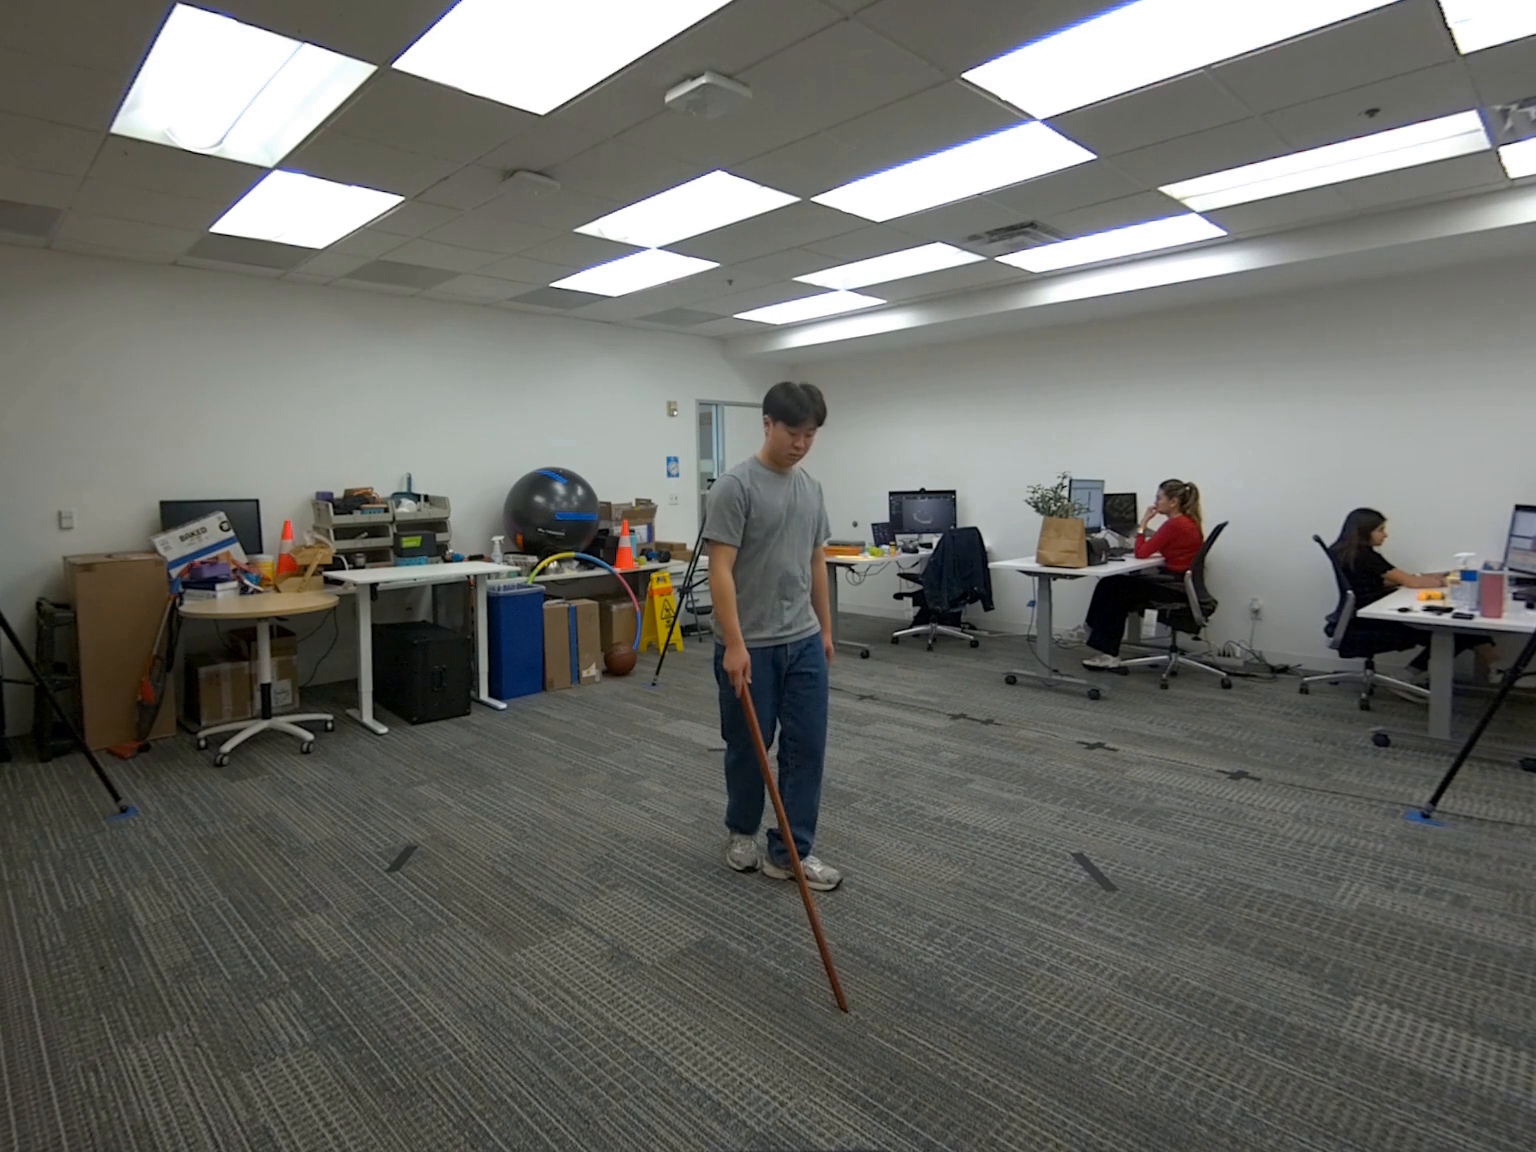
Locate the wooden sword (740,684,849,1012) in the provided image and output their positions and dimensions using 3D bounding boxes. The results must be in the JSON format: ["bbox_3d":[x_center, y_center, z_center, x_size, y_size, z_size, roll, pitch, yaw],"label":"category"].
[{"bbox_3d":[0.051,0.731,2.502,0.024,1.056,0.050,-12,-30,-15],"label":"wooden sword"}]
